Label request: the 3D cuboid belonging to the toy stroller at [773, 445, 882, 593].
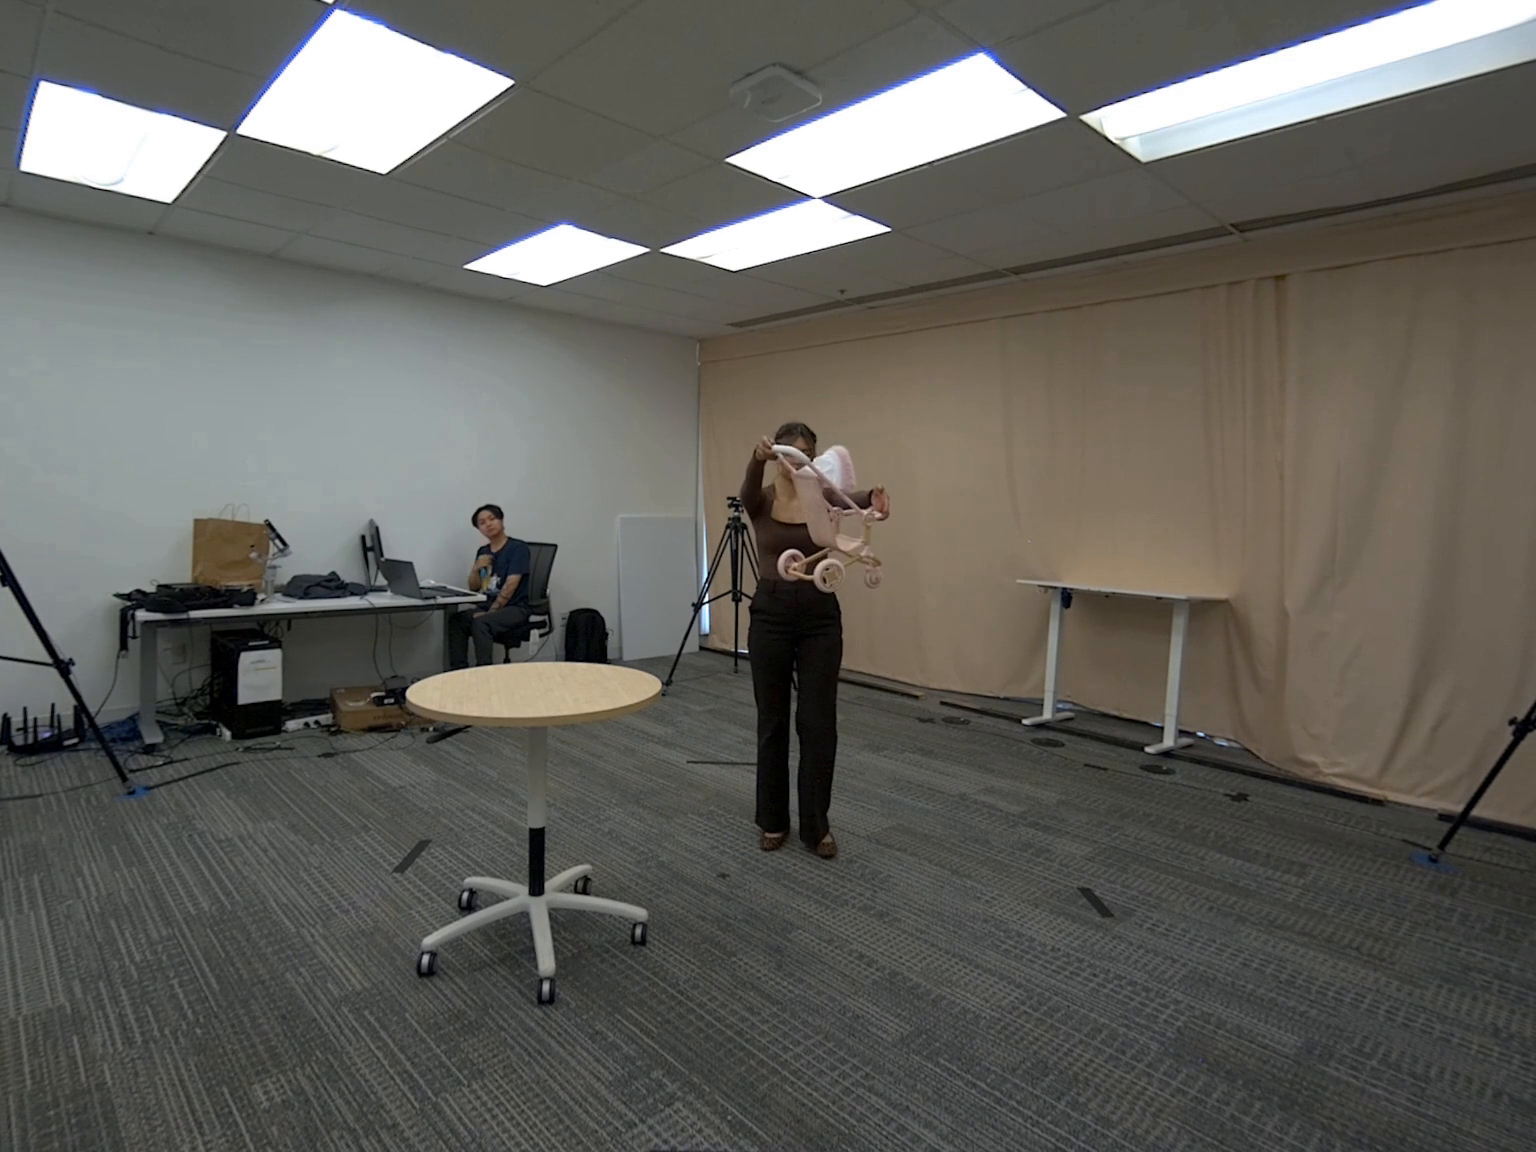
[{"bbox_3d":[0.217,-0.187,2.800,0.337,0.530,0.287,-11,11,-20],"label":"toy stroller"}]
